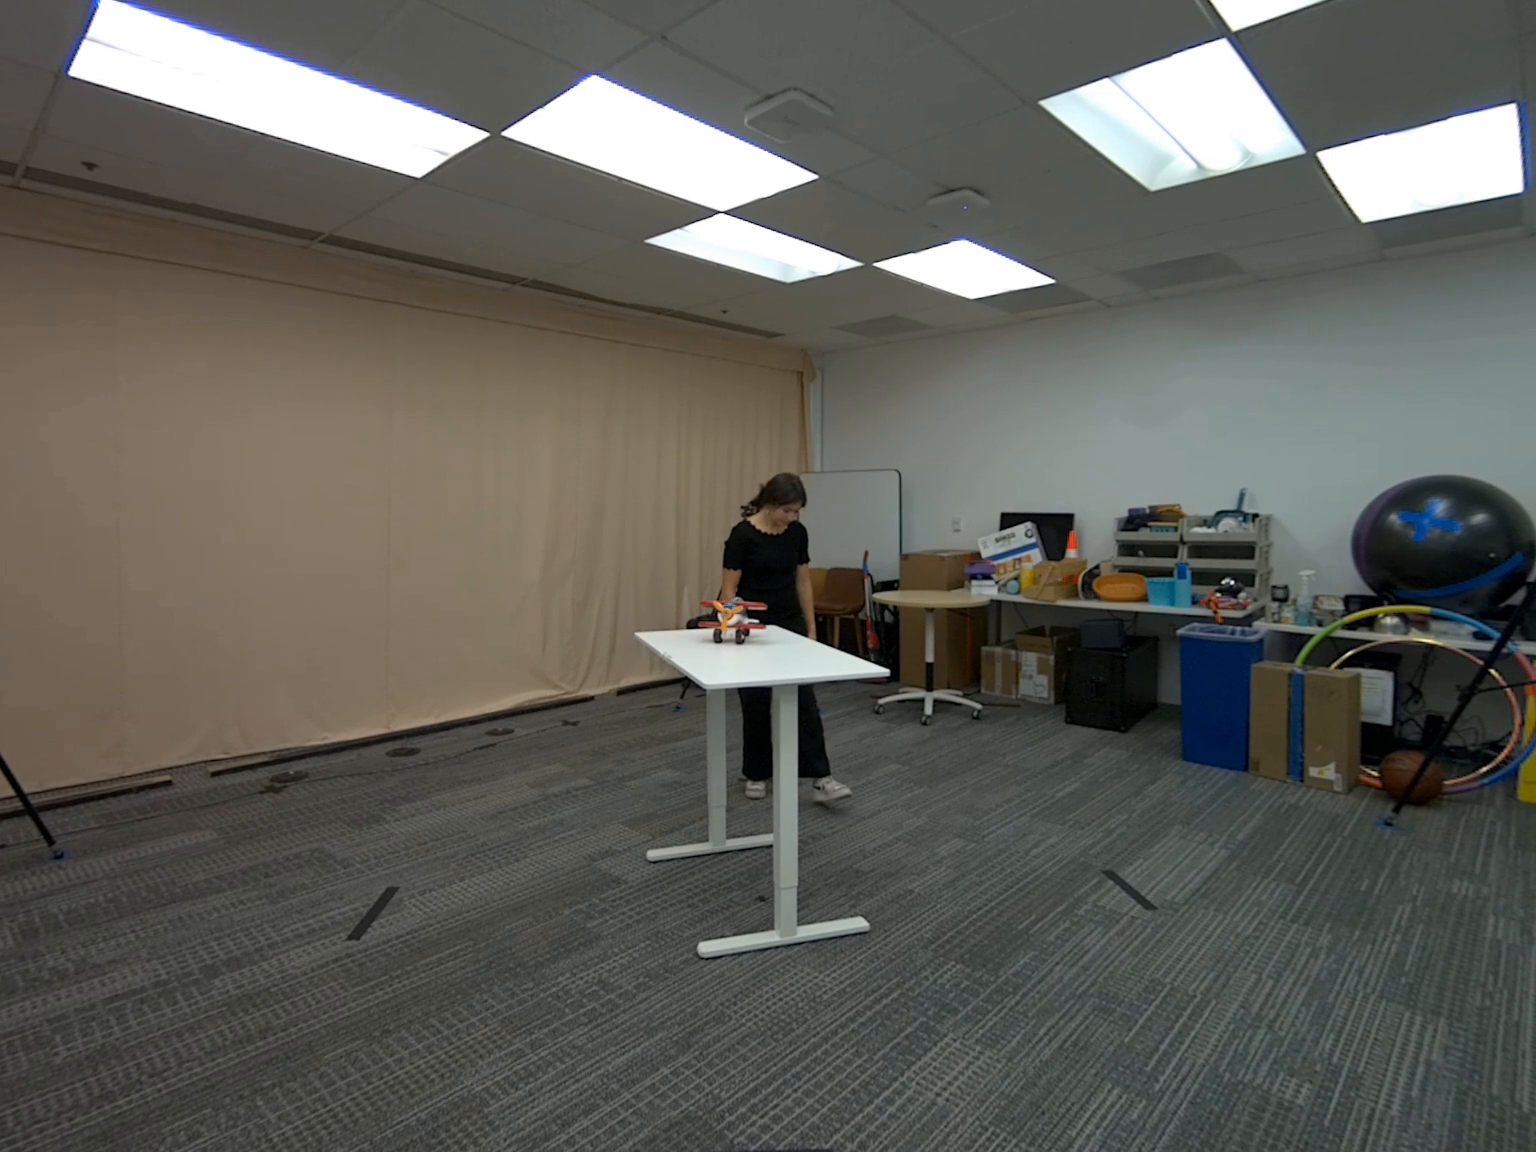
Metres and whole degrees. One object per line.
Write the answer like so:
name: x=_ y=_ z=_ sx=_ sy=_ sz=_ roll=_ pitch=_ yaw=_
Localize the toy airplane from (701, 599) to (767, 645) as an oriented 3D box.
toy airplane: x=-0.144 y=0.164 z=3.197 sx=0.248 sy=0.156 sz=0.263 roll=0 pitch=5 yaw=-13
